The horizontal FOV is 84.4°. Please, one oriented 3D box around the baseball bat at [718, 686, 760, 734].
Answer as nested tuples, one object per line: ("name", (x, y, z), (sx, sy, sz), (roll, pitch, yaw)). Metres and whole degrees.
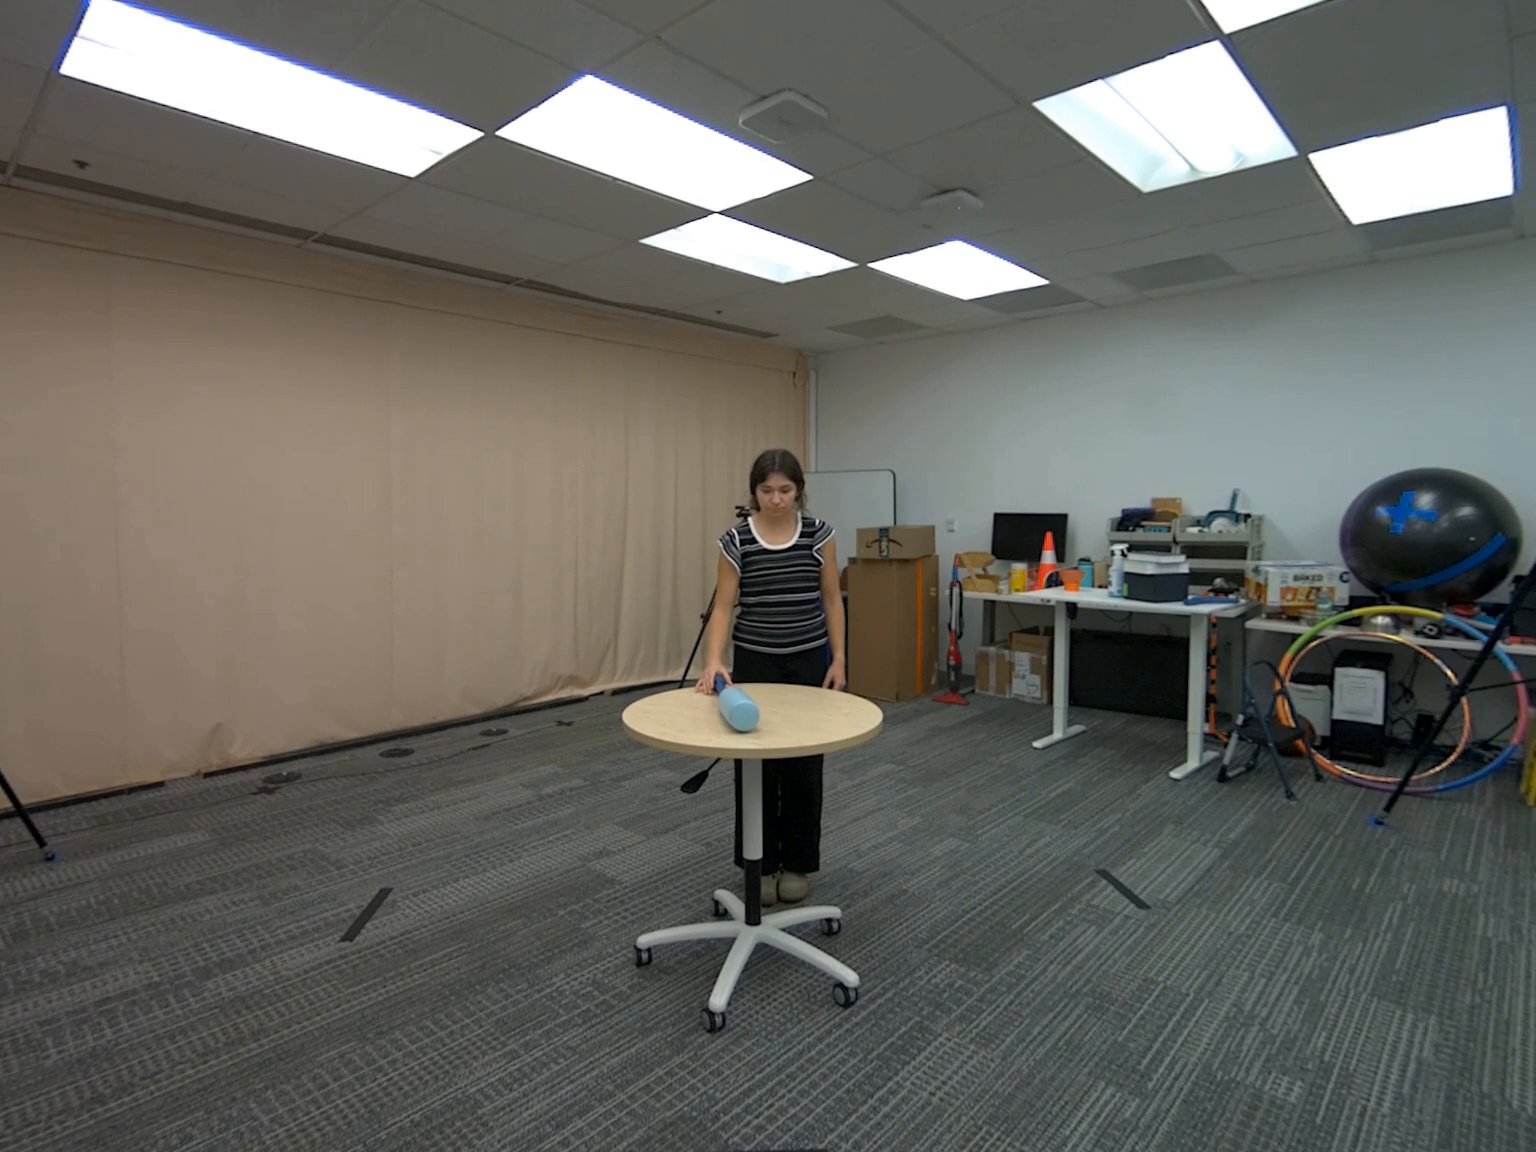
("baseball bat", (-0.108, 0.364, 2.507), (0.088, 0.089, 0.549), (-1, 2, -12))
